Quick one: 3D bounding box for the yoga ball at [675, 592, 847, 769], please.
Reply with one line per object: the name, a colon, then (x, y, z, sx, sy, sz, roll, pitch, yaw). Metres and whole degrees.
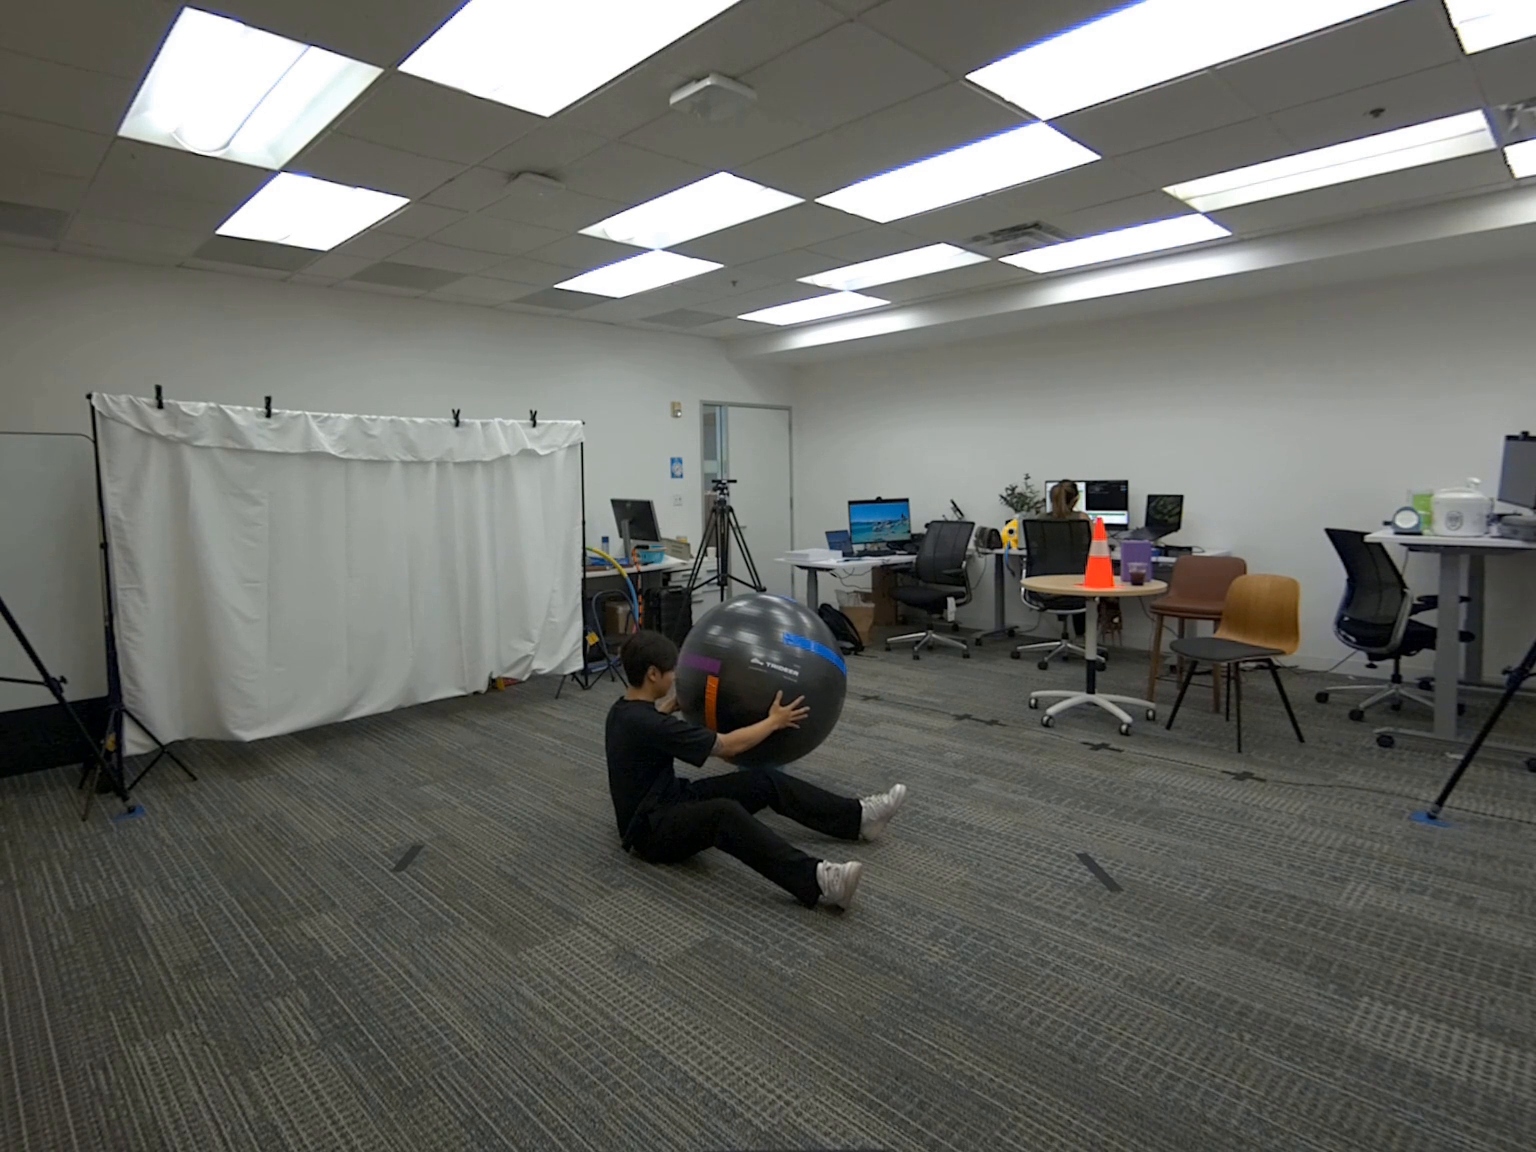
yoga ball: (-0.030, 0.472, 3.791, 0.757, 0.755, 0.762, -1, 5, -2)
